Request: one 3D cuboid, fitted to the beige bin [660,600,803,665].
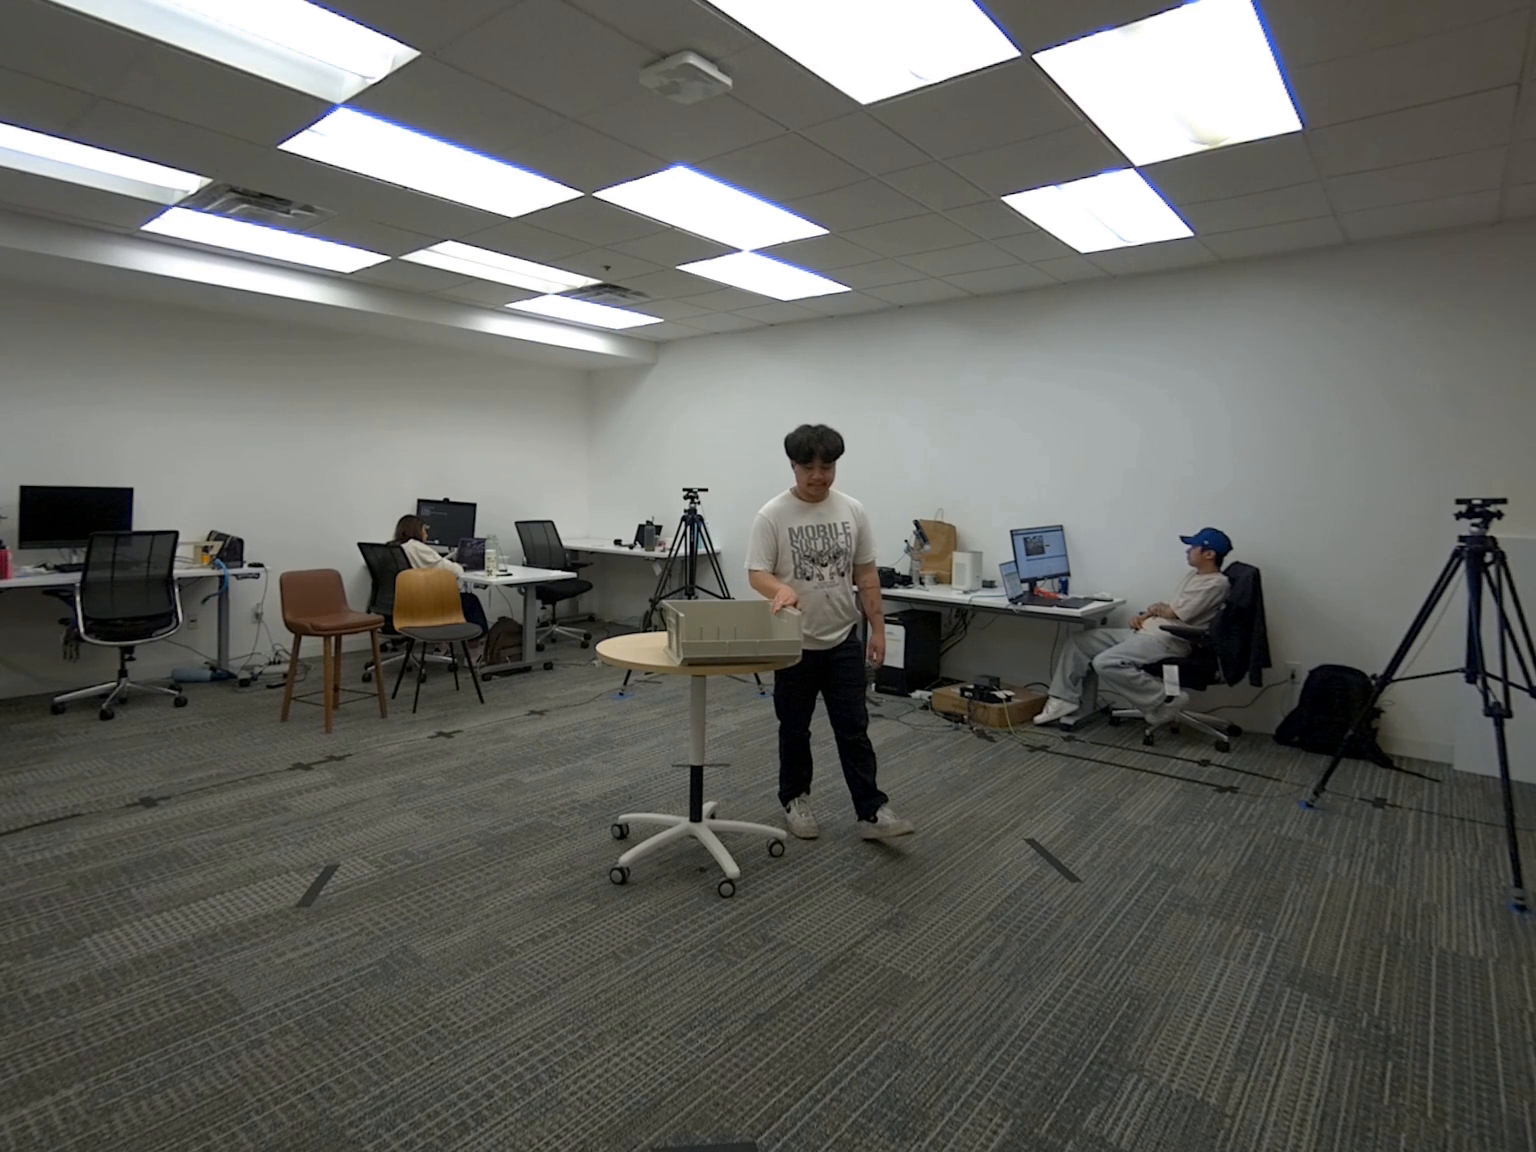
[{"bbox_3d":[-0.144,0.192,2.982,0.416,0.189,0.384,0,3,-16],"label":"beige bin"}]
